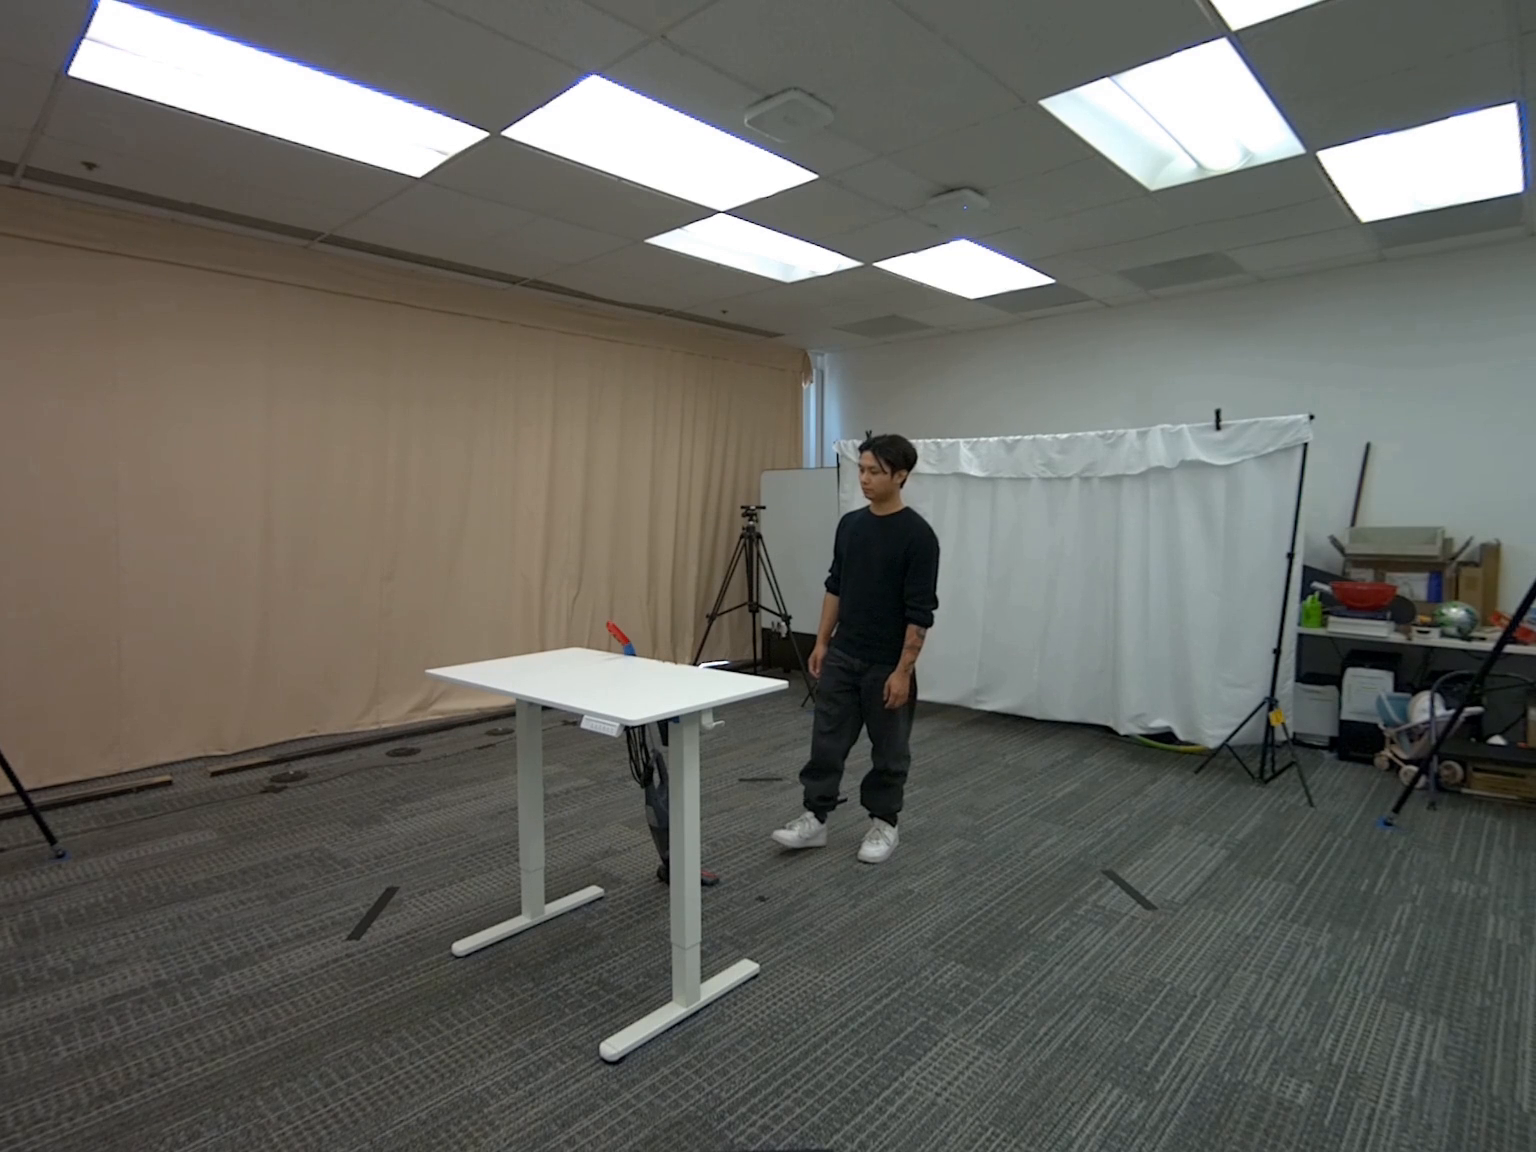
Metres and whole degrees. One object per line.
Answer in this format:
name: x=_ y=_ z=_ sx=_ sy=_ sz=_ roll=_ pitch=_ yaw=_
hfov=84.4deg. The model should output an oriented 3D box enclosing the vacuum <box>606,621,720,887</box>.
vacuum: x=-0.430 y=0.652 z=3.003 sx=0.260 sy=1.035 sz=0.141 roll=0 pitch=21 yaw=39
